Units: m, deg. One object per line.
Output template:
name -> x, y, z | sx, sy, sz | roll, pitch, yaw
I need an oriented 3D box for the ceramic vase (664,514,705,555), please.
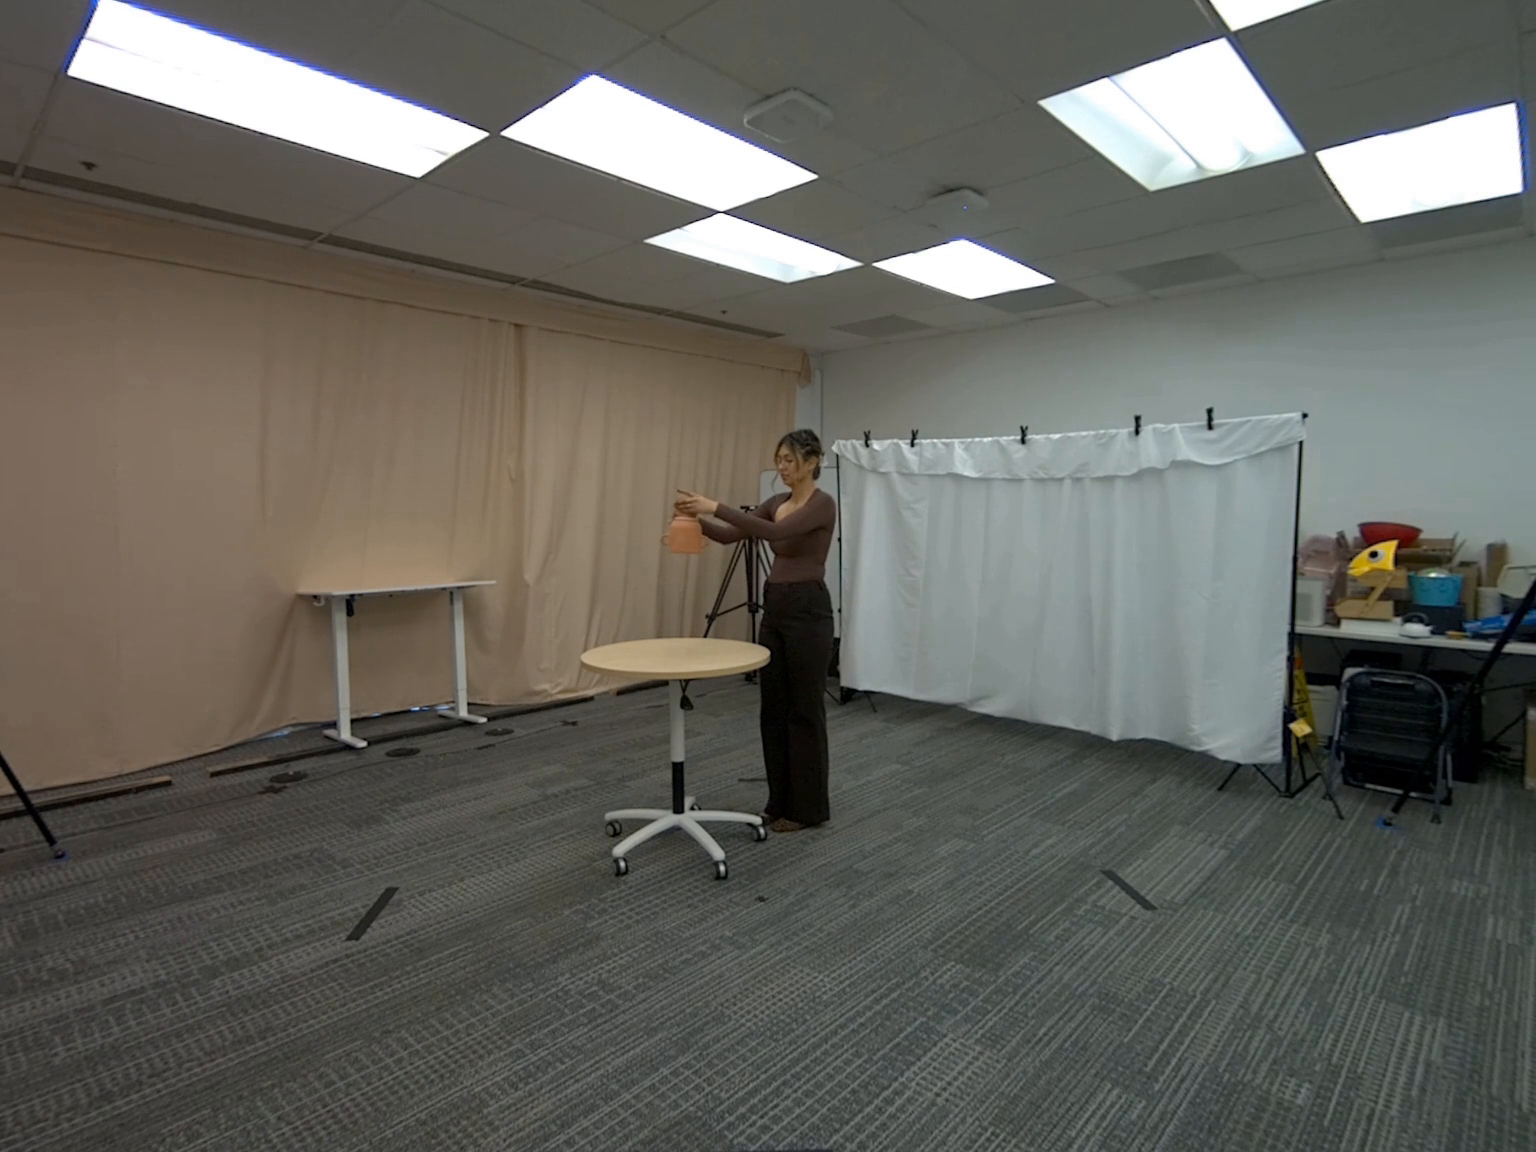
ceramic vase -> -0.329, -0.202, 3.410 | 0.154, 0.219, 0.139 | 0, 4, -42
